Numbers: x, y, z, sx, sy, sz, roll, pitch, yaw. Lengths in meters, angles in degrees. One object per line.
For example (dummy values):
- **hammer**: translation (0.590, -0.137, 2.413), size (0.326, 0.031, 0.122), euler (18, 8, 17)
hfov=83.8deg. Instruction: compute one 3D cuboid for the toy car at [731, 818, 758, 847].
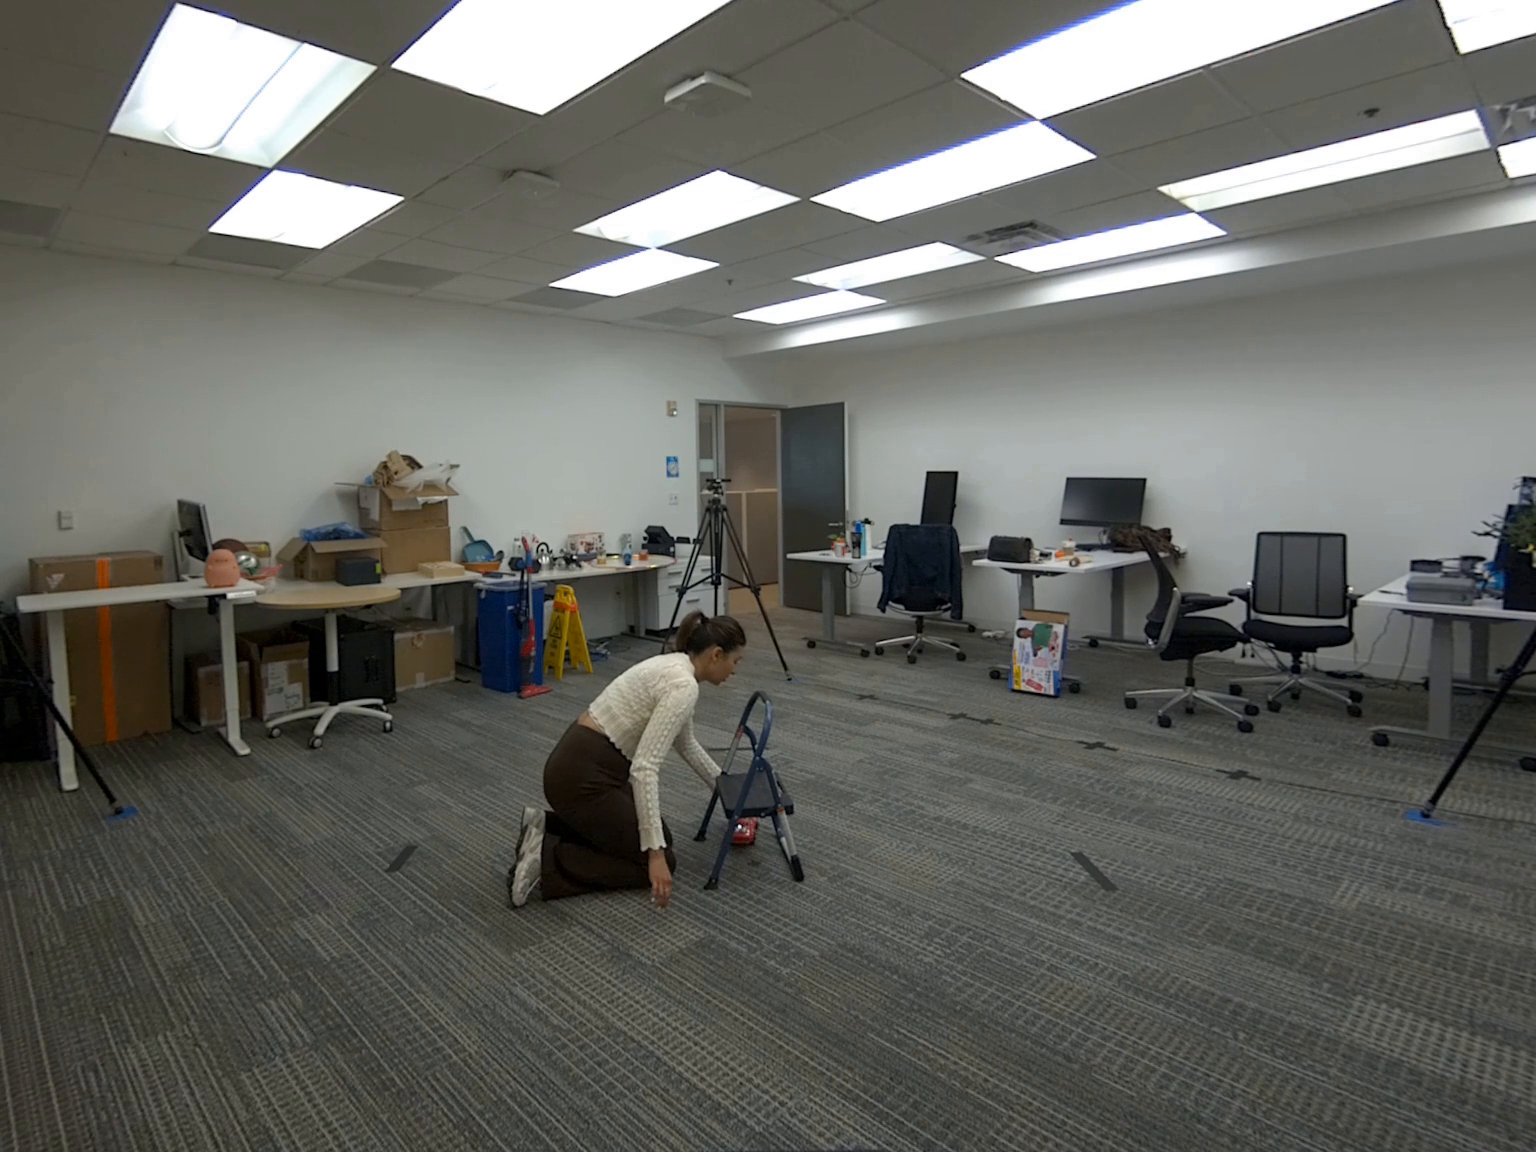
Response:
- **toy car**: translation (-0.105, 0.994, 3.319), size (0.131, 0.084, 0.252), euler (-1, -6, 4)
